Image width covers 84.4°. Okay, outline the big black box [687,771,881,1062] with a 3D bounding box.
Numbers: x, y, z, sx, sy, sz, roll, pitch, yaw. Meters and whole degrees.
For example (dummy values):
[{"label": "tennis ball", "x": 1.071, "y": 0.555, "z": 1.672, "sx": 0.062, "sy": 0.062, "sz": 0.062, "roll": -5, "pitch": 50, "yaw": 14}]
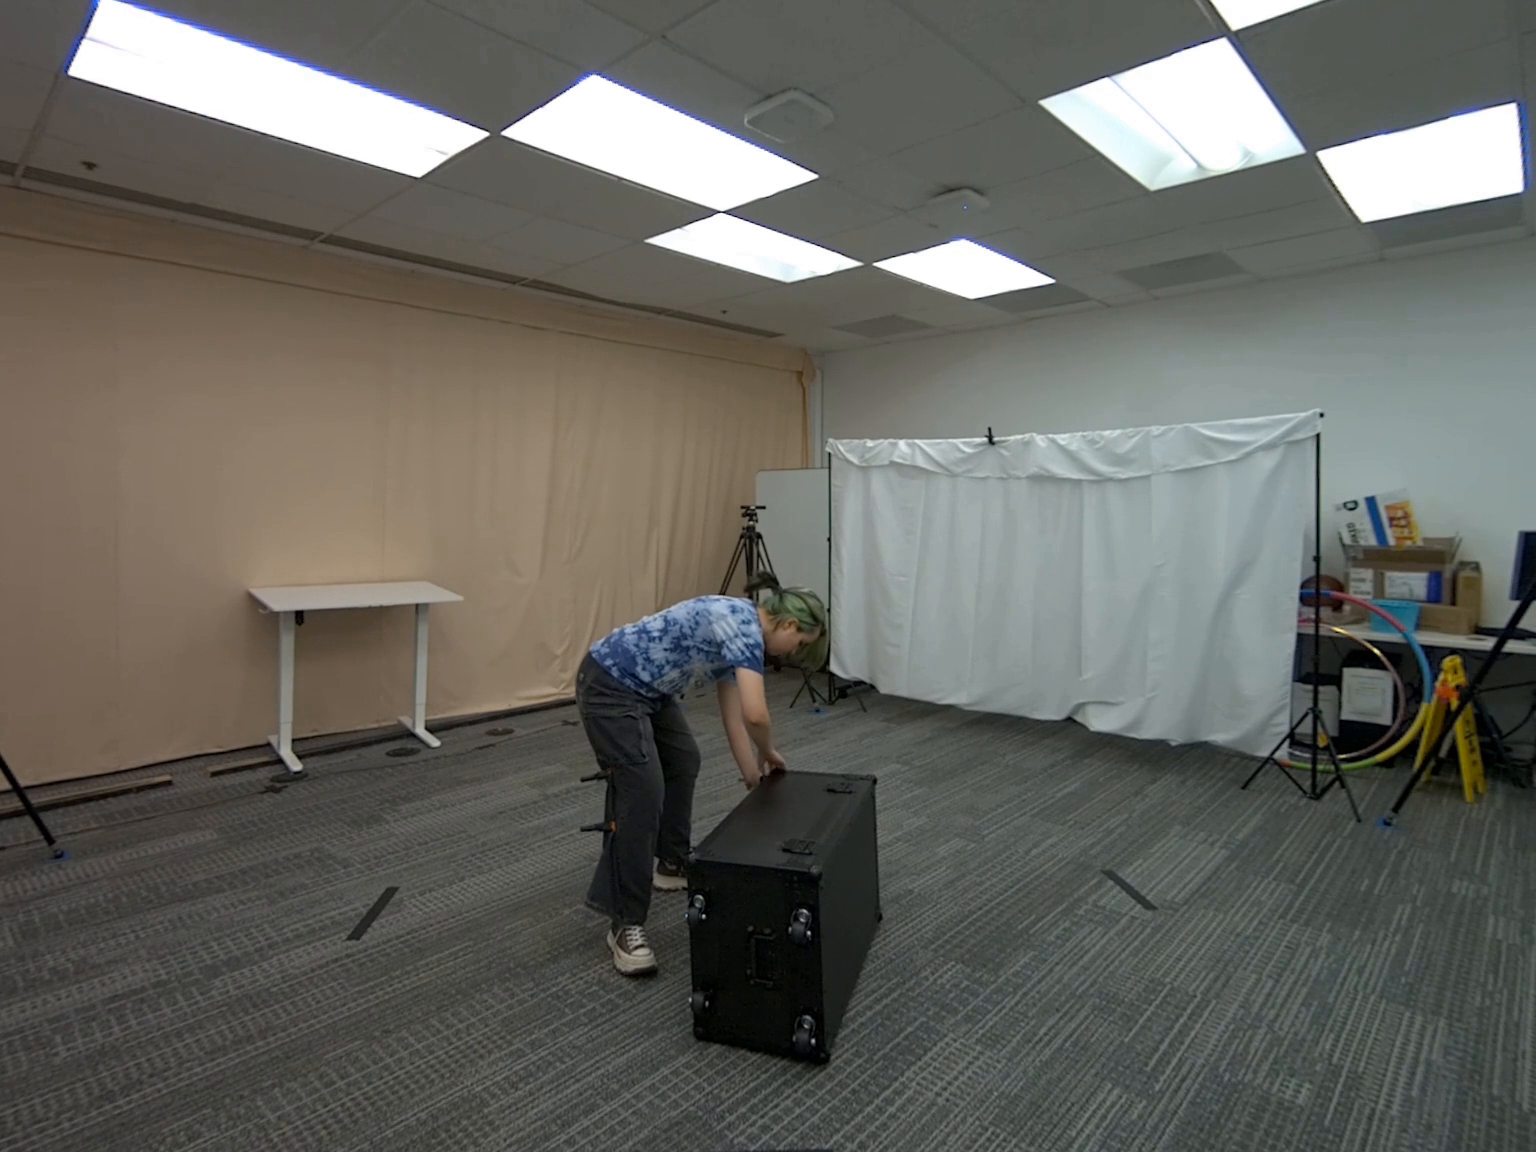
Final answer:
[{"label": "big black box", "x": 0.062, "y": 0.932, "z": 2.460, "sx": 0.404, "sy": 0.520, "sz": 0.846, "roll": -1, "pitch": 3, "yaw": 18}]
